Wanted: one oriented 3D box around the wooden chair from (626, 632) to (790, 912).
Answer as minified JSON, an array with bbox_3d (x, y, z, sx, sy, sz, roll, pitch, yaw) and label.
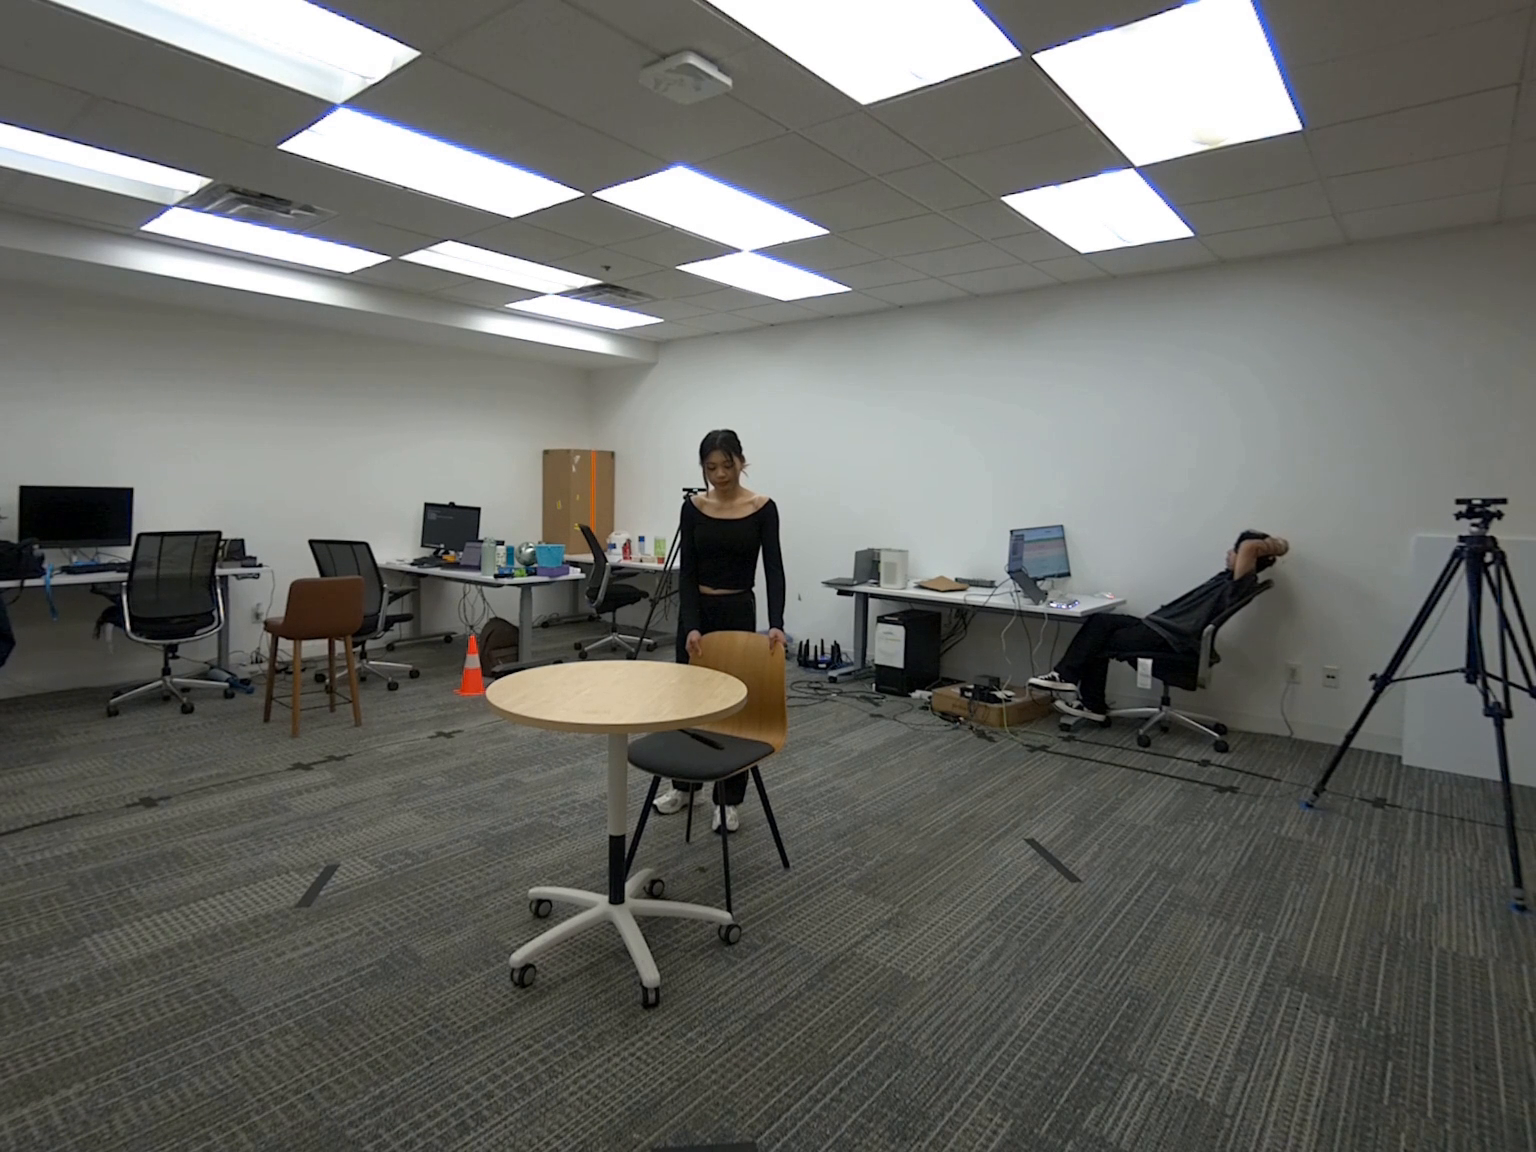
[{"bbox_3d":[-0.222,0.647,3.021,0.492,0.878,0.508,3,0,28],"label":"wooden chair"}]
